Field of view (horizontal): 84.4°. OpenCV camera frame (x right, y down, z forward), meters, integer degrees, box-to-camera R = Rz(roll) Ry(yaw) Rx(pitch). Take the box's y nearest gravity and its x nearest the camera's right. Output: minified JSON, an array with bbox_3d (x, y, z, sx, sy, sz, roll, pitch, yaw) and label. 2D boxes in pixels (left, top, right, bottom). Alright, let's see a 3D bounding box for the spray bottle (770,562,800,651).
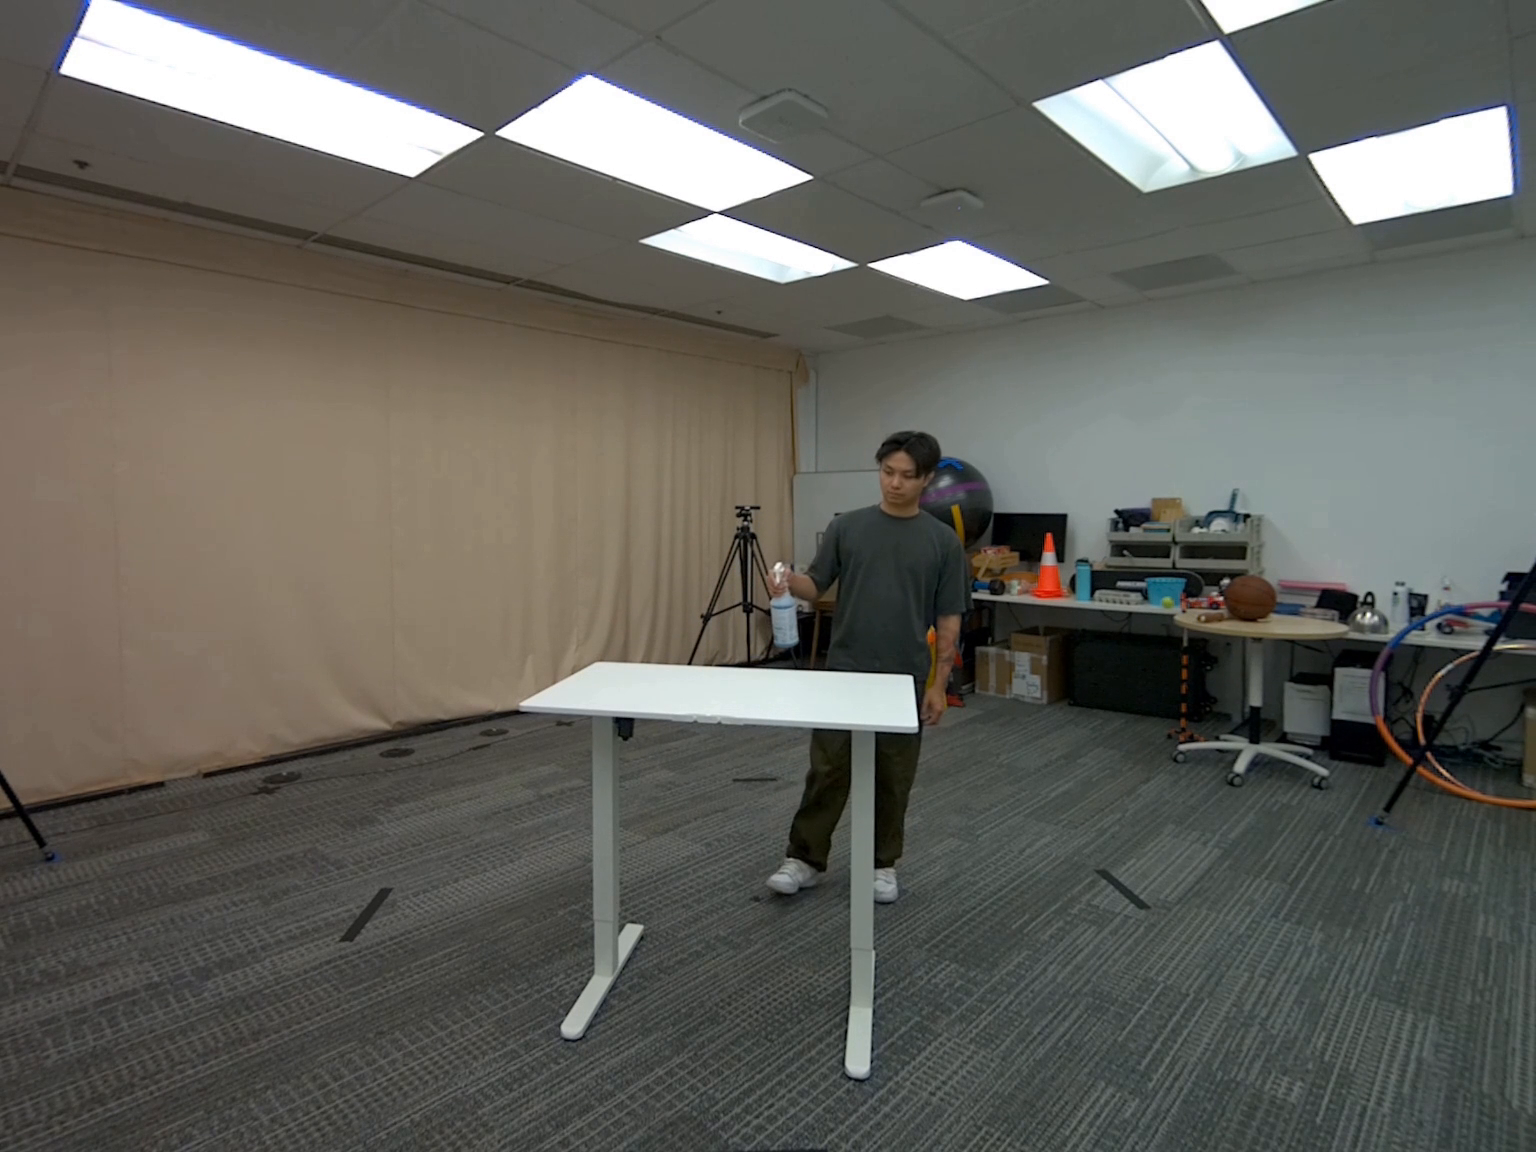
[{"bbox_3d":[0.057,0.098,2.891,0.090,0.293,0.088,8,22,36],"label":"spray bottle"}]
